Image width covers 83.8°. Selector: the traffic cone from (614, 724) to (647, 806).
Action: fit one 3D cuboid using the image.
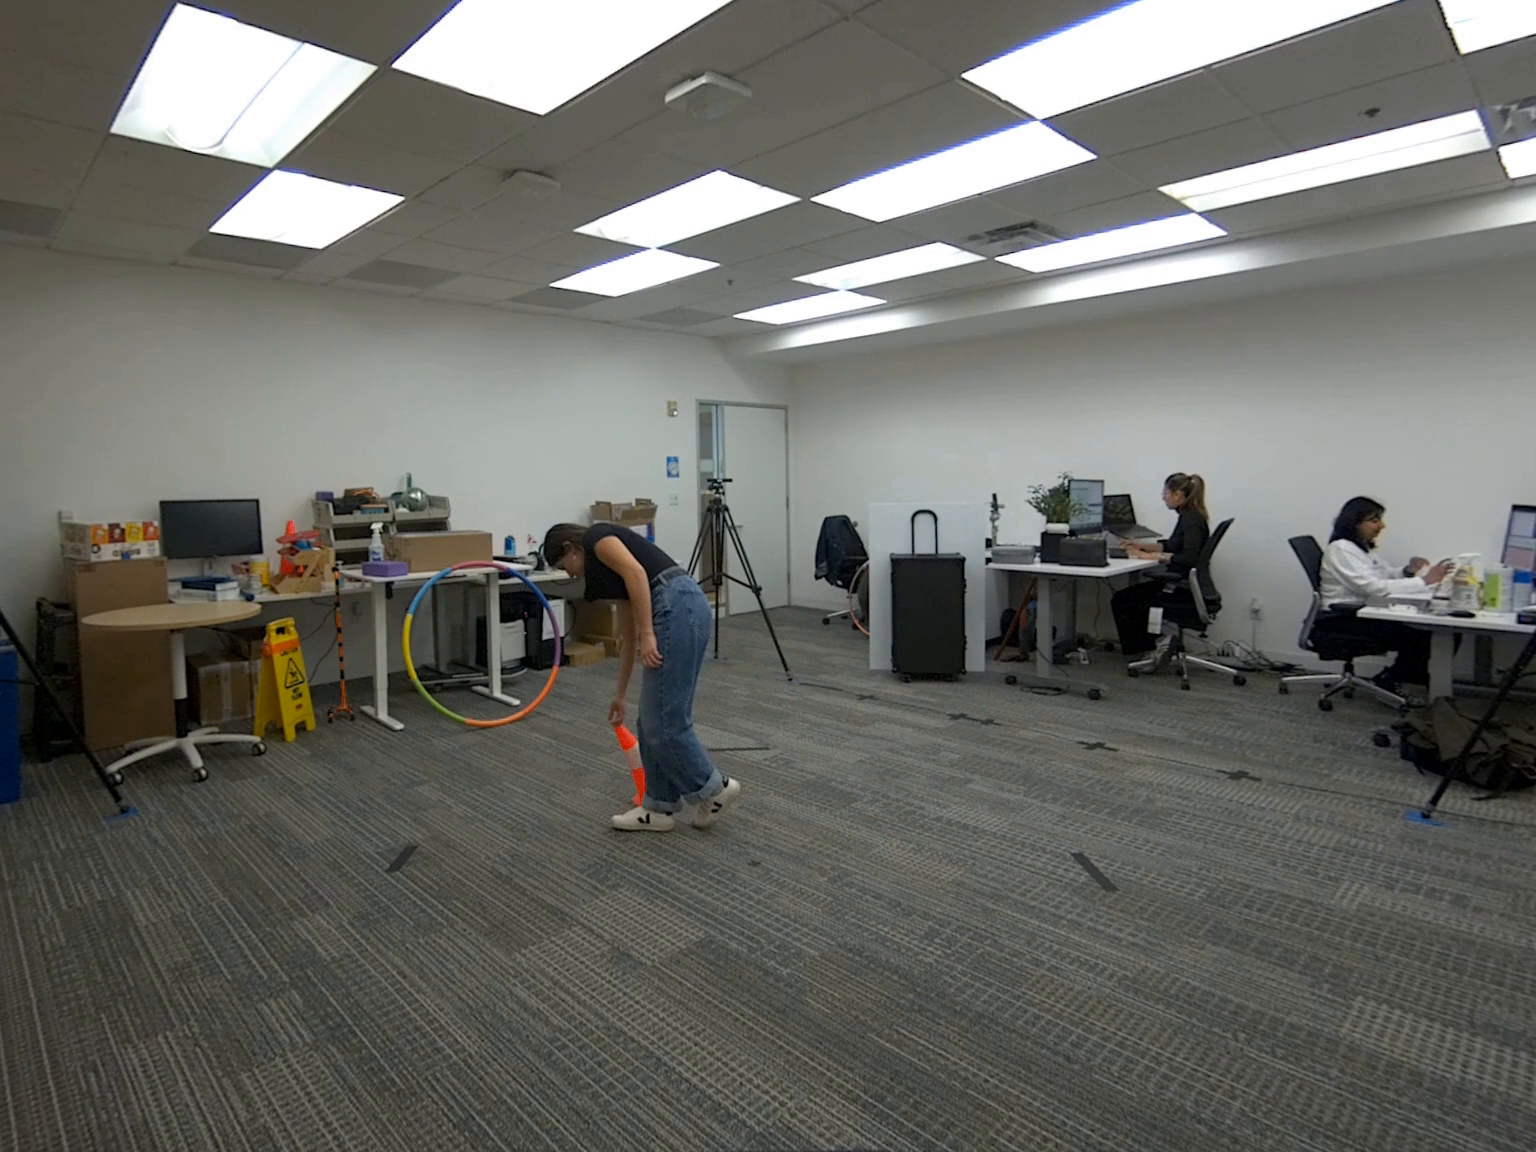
[{"bbox_3d":[-0.551,0.785,3.675,0.204,0.377,0.208,-31,16,-17],"label":"traffic cone"}]
